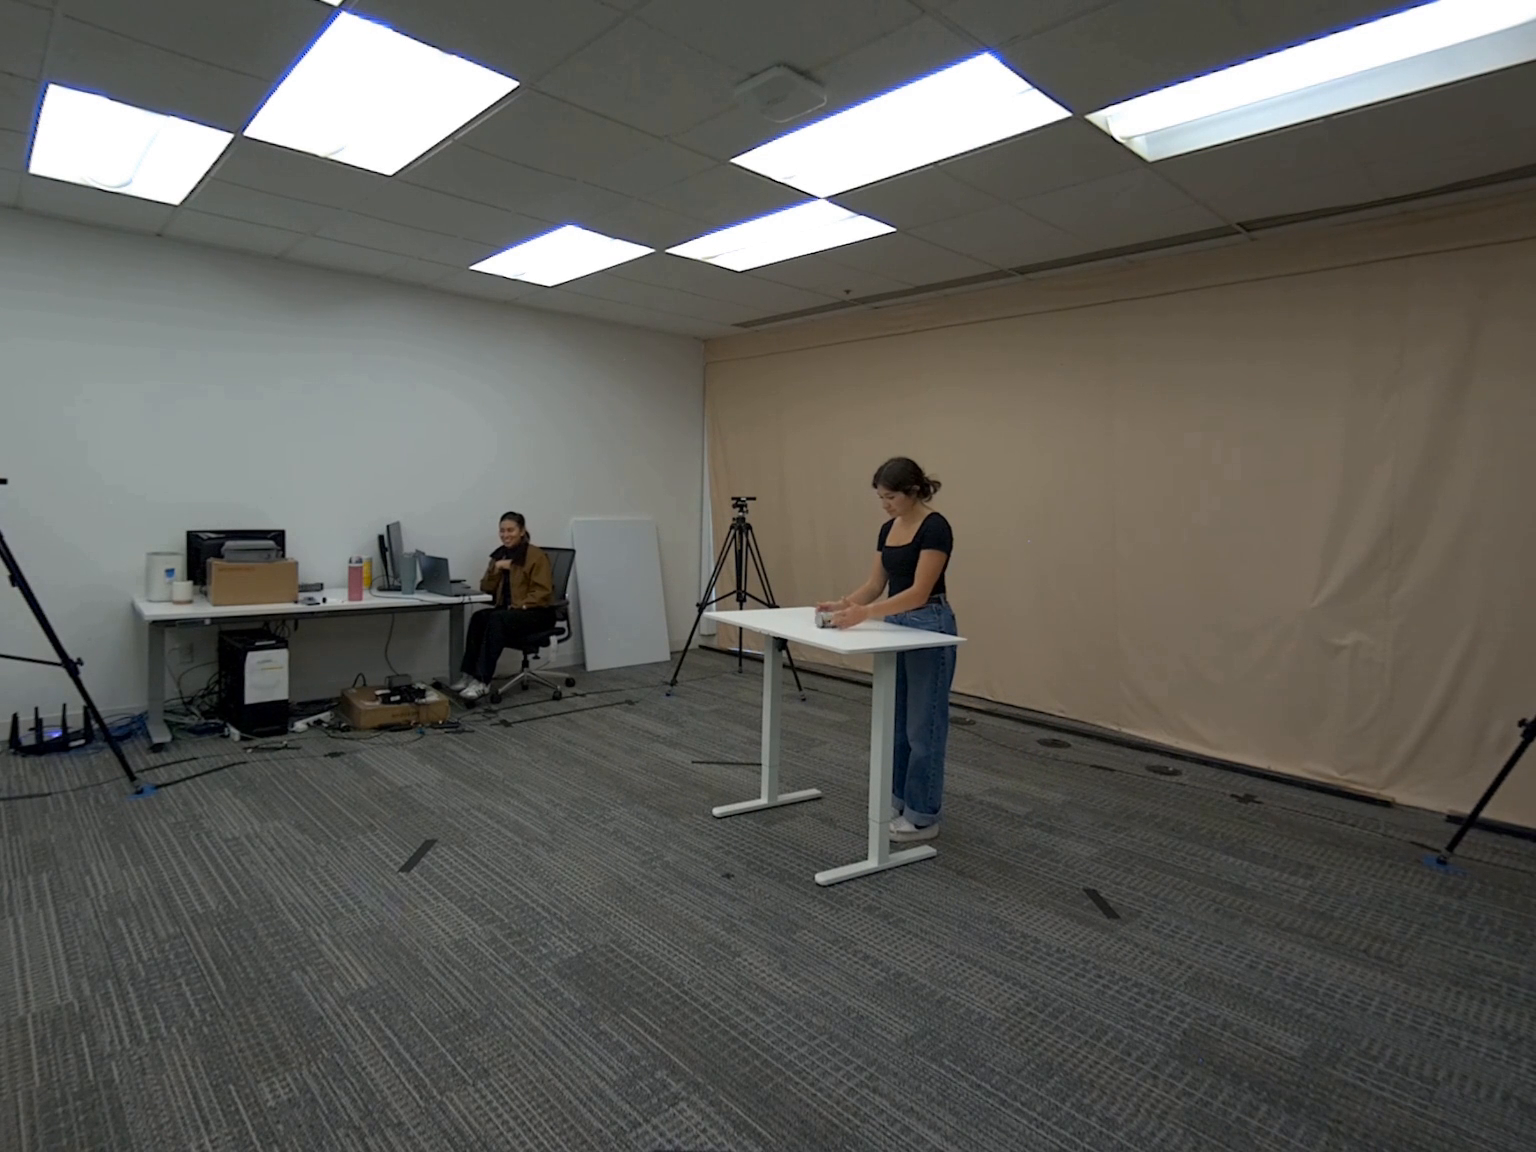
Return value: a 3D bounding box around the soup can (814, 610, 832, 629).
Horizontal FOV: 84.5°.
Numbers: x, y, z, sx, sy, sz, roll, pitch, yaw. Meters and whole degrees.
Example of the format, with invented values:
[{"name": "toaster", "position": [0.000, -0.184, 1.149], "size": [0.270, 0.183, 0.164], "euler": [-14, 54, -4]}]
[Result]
[{"name": "soup can", "position": [0.260, 0.175, 3.417], "size": [0.120, 0.067, 0.068], "euler": [1, 4, -15]}]
